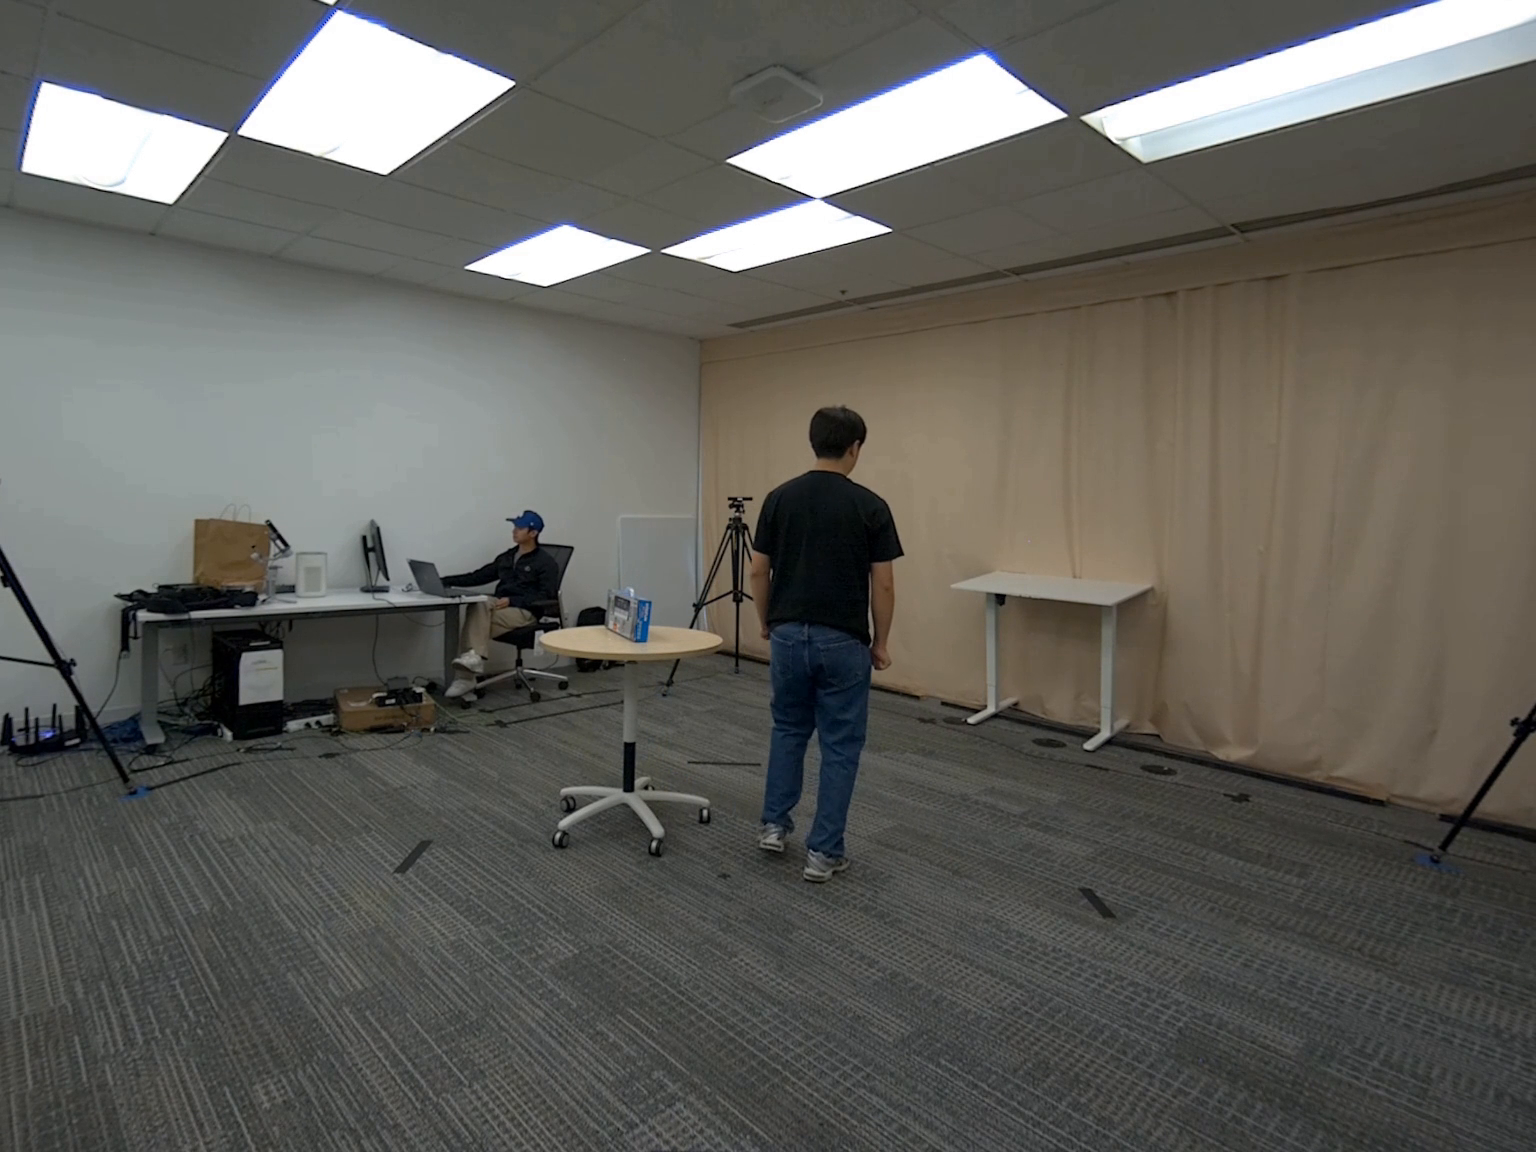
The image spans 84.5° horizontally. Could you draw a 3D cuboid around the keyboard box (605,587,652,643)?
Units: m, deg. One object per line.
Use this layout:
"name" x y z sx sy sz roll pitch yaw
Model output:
"keyboard box" -0.617 0.169 3.637 0.058 0.176 0.445 5 2 -25
